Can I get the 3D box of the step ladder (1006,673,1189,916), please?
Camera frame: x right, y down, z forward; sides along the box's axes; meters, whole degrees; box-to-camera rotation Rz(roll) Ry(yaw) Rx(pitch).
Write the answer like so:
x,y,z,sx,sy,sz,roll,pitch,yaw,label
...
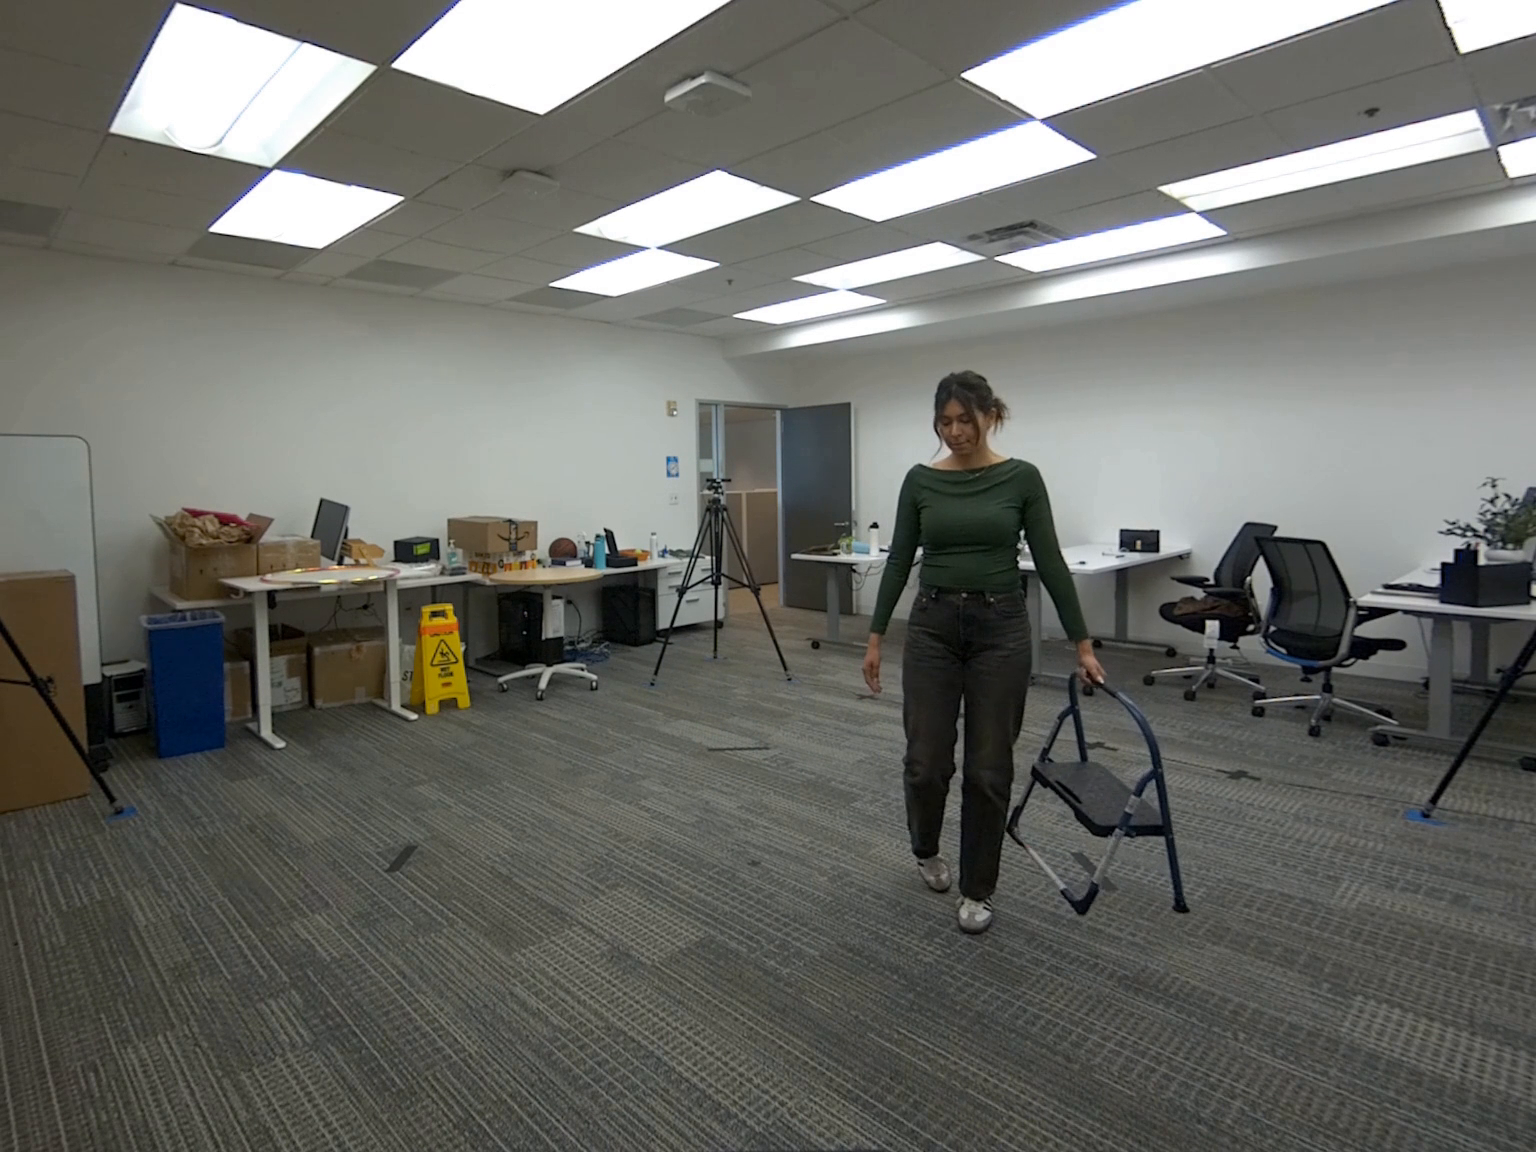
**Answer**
x,y,z,sx,sy,sz,roll,pitch,yaw,label
1.014,0.605,2.498,0.344,0.599,0.442,2,14,-15,step ladder
